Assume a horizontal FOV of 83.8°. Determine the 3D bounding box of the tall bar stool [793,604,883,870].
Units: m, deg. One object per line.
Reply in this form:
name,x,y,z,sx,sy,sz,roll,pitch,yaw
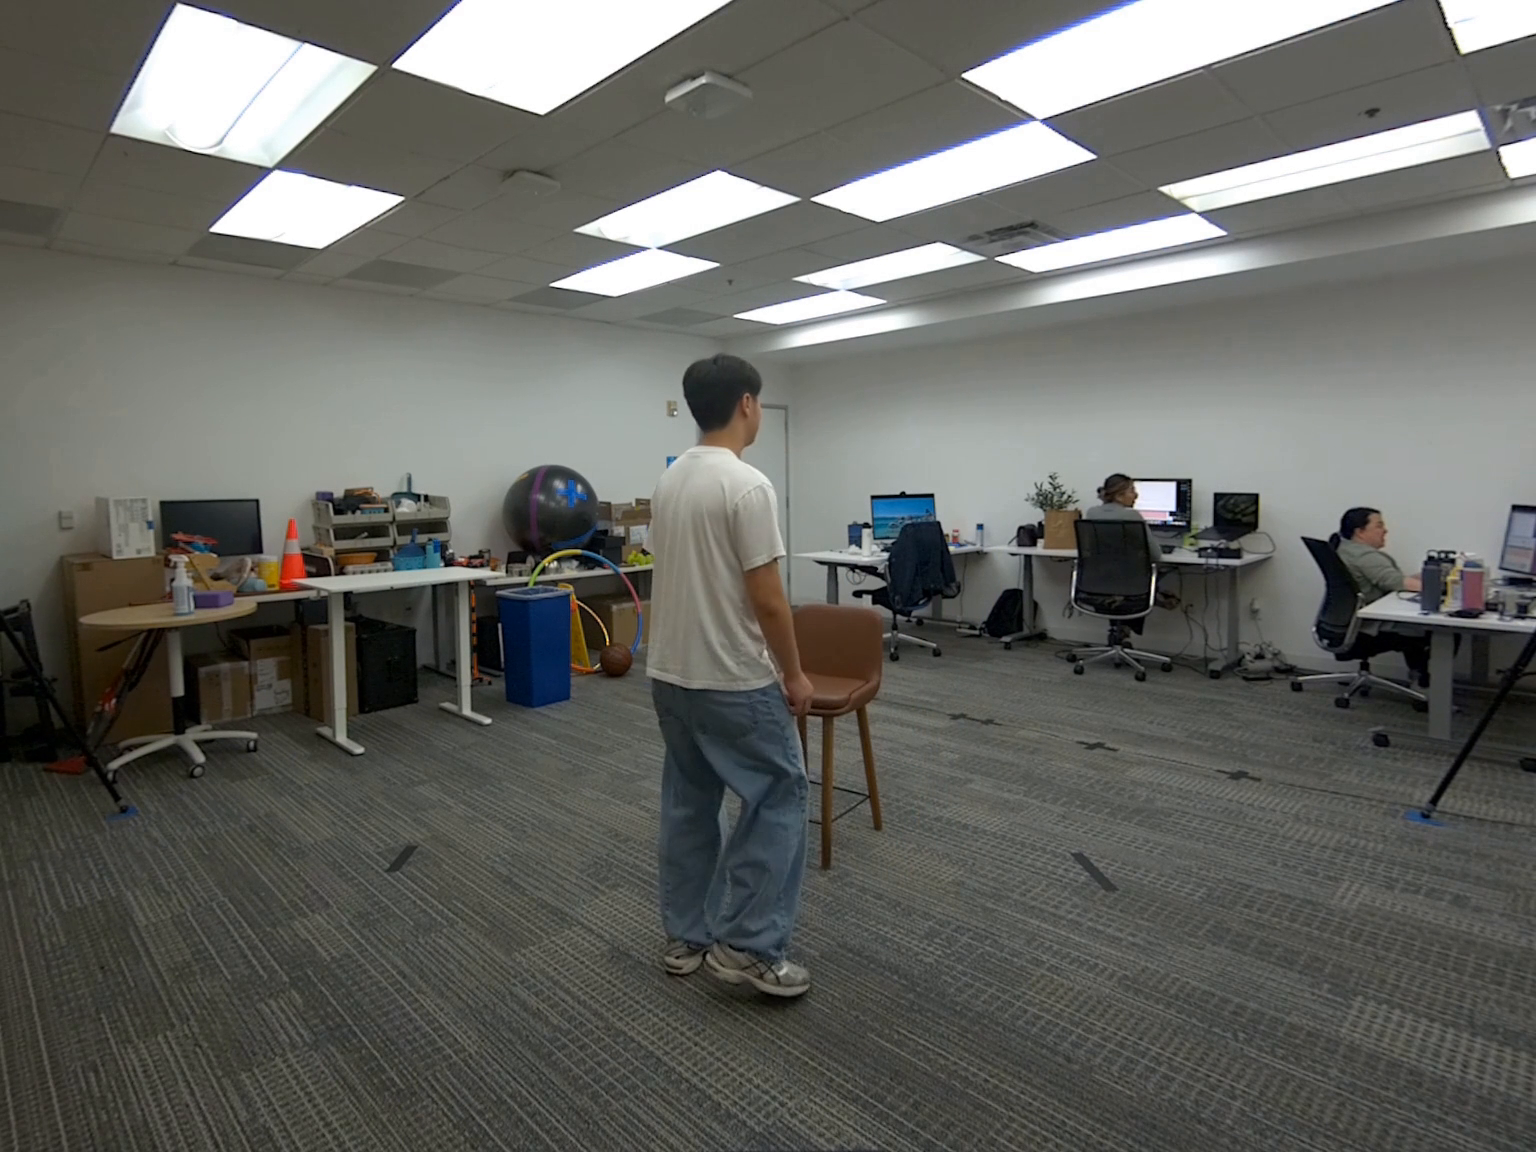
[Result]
tall bar stool,0.181,0.580,3.318,0.470,0.888,0.455,2,3,37
